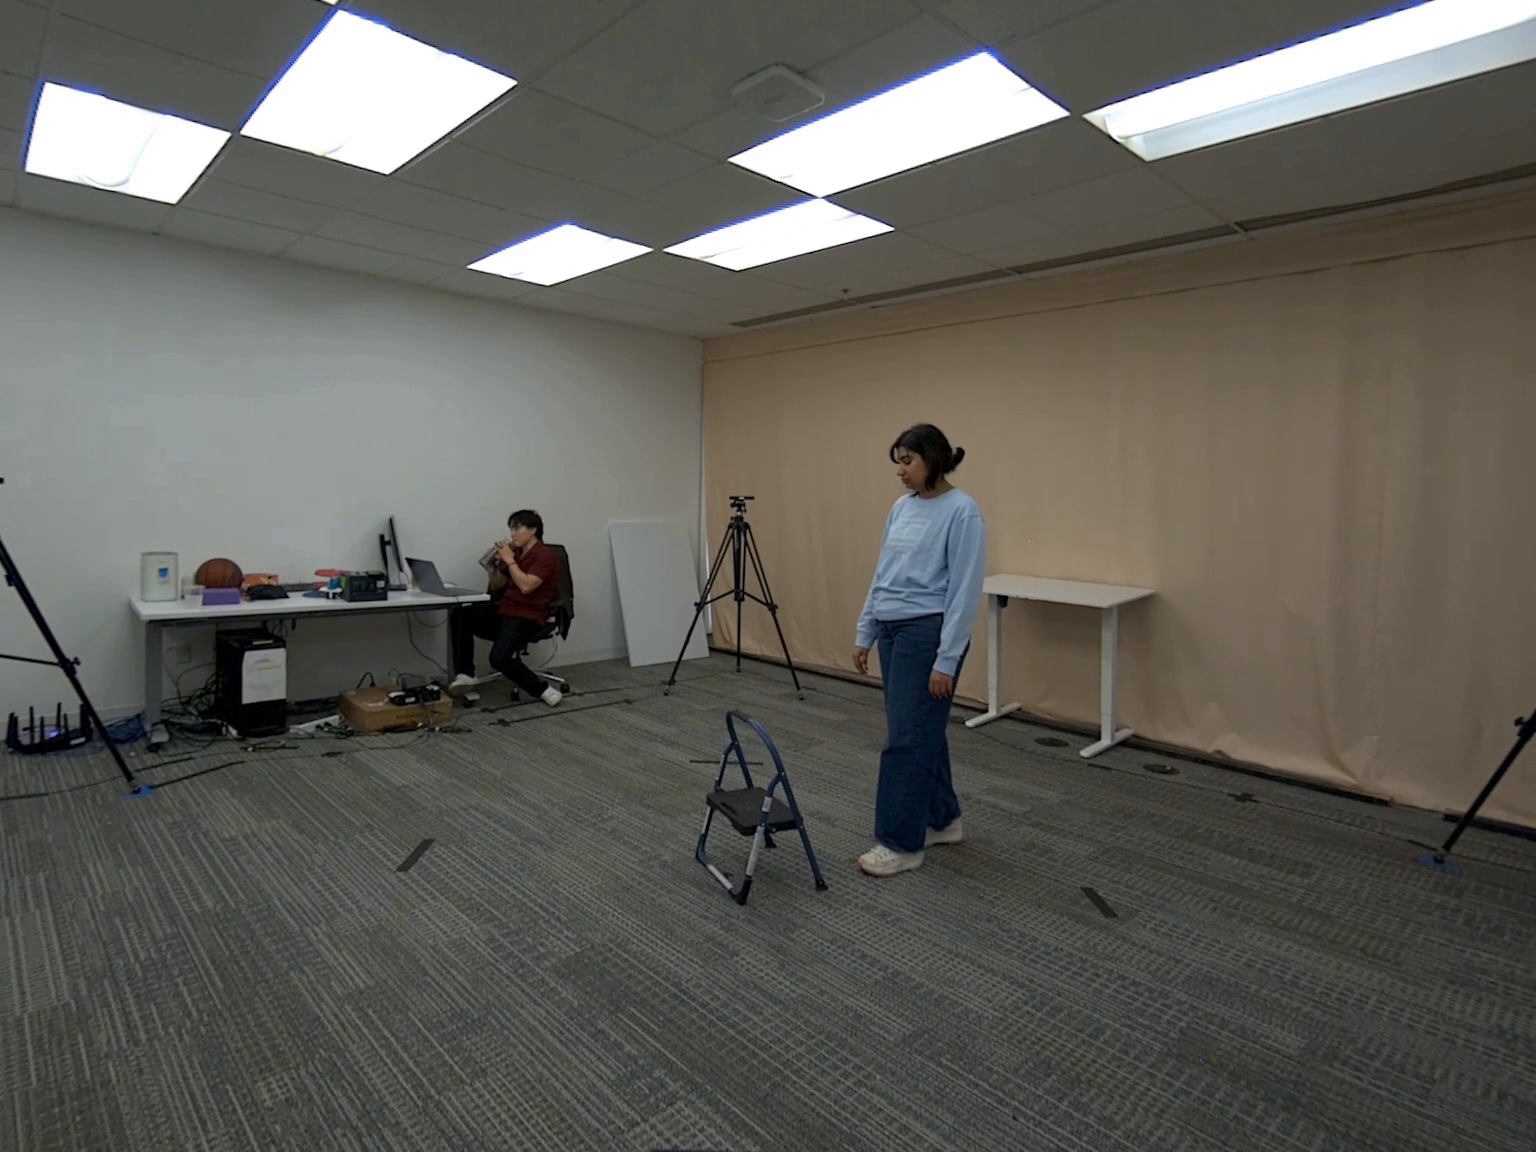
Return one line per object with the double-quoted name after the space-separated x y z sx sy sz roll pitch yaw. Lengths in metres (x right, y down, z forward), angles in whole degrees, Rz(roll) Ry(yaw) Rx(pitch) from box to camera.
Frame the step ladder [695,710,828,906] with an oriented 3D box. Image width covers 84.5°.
-0.037 0.804 3.109 0.343 0.605 0.440 0 4 -27 "step ladder"
